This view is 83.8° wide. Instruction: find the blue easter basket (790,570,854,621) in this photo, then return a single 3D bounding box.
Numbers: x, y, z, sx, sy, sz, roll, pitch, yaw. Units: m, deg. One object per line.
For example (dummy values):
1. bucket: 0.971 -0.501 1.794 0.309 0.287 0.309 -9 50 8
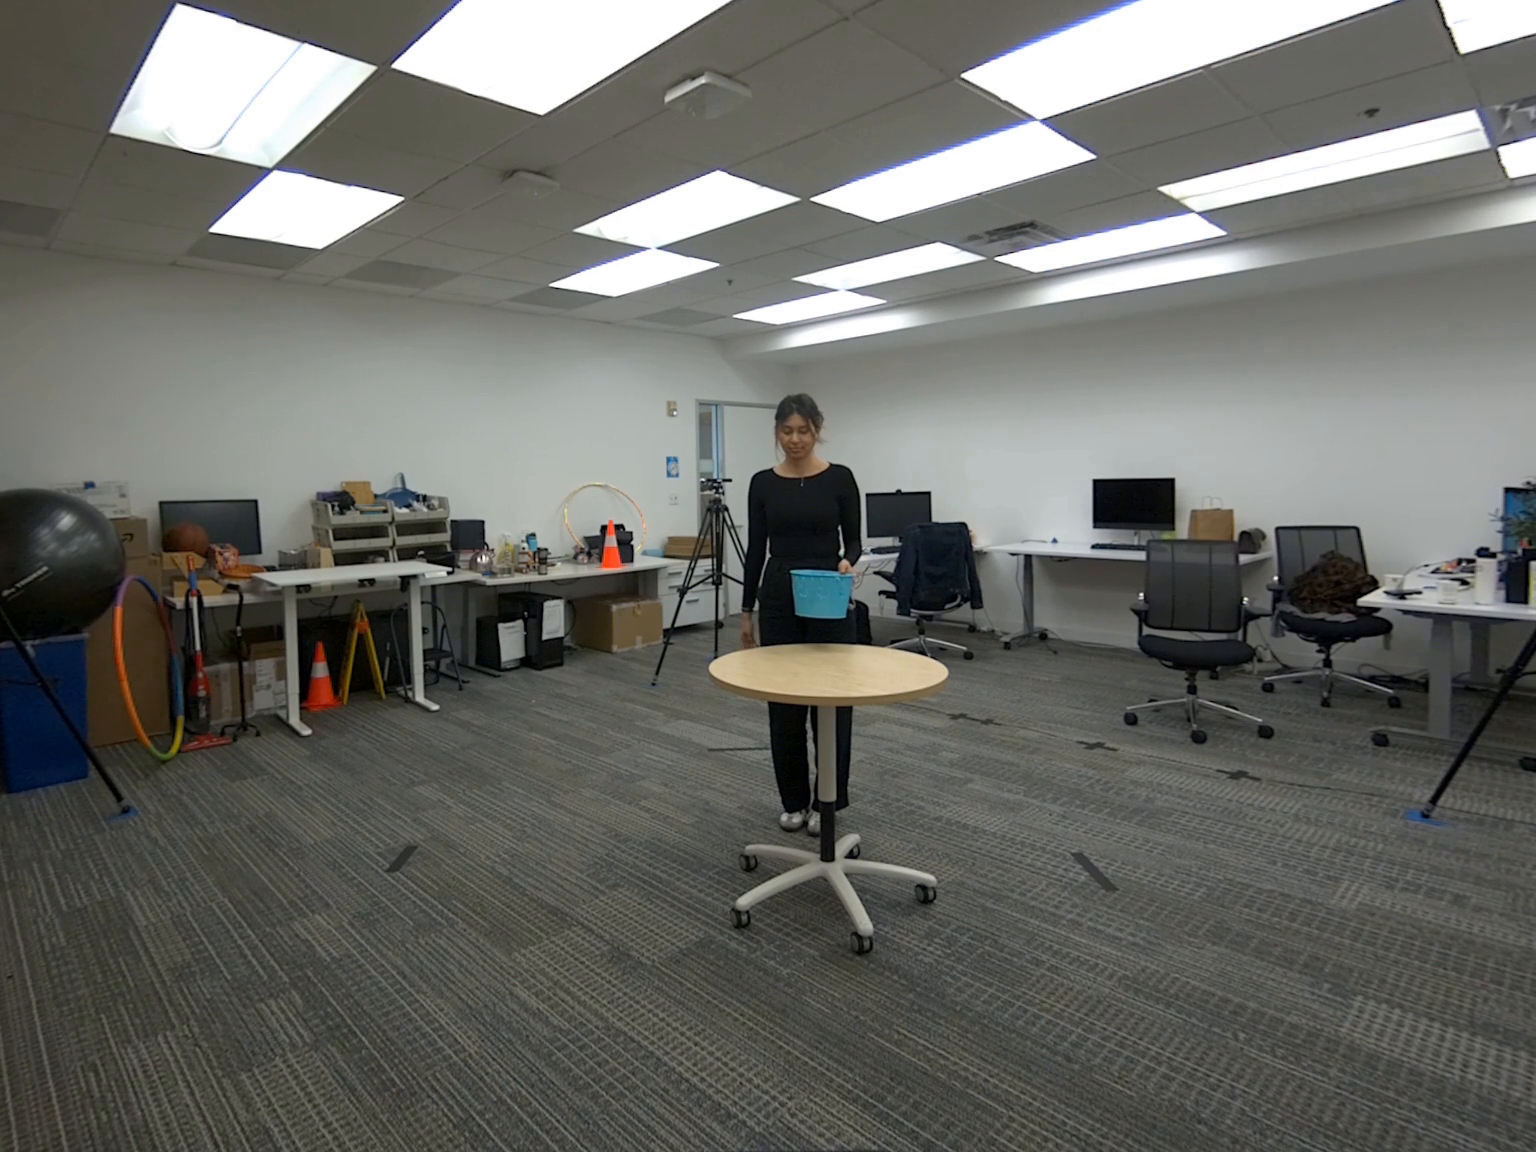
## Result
1. blue easter basket: 0.205 0.066 3.066 0.243 0.155 0.244 1 3 -2
